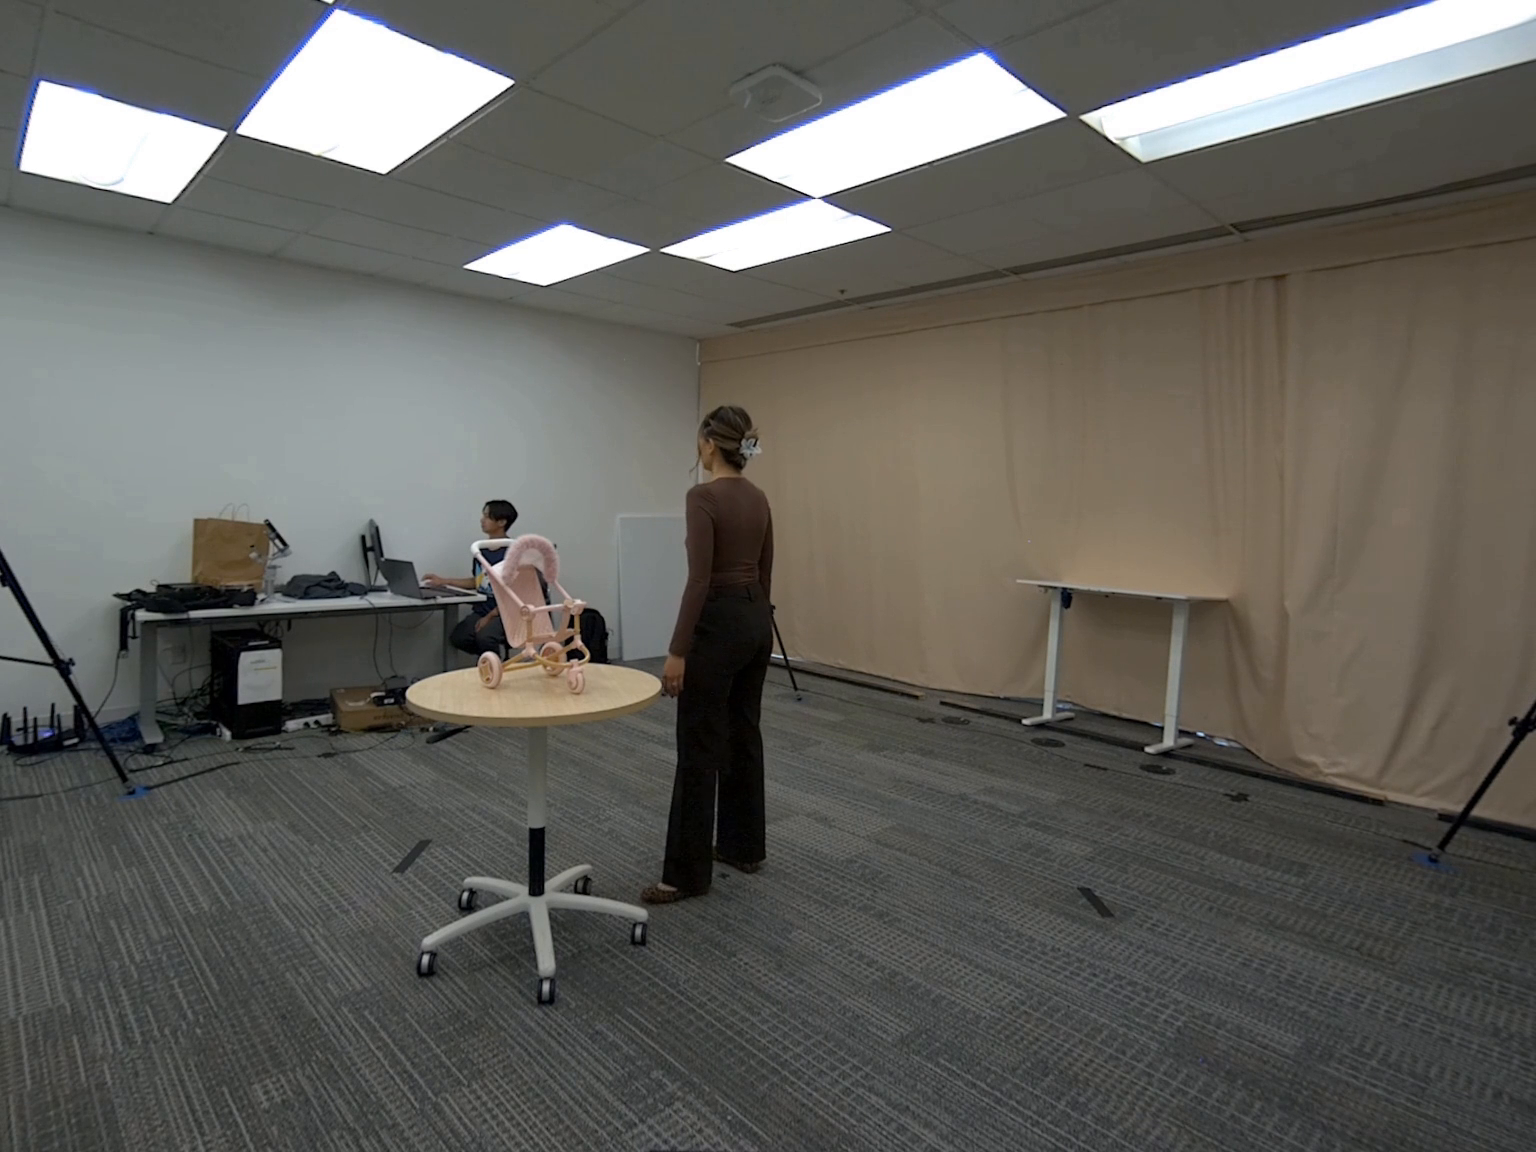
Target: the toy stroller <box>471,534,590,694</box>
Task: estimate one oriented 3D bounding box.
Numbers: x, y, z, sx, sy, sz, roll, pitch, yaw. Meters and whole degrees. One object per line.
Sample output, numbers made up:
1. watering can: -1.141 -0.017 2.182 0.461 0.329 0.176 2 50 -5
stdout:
1. toy stroller: -0.726 0.116 2.605 0.347 0.538 0.275 -15 -8 41
